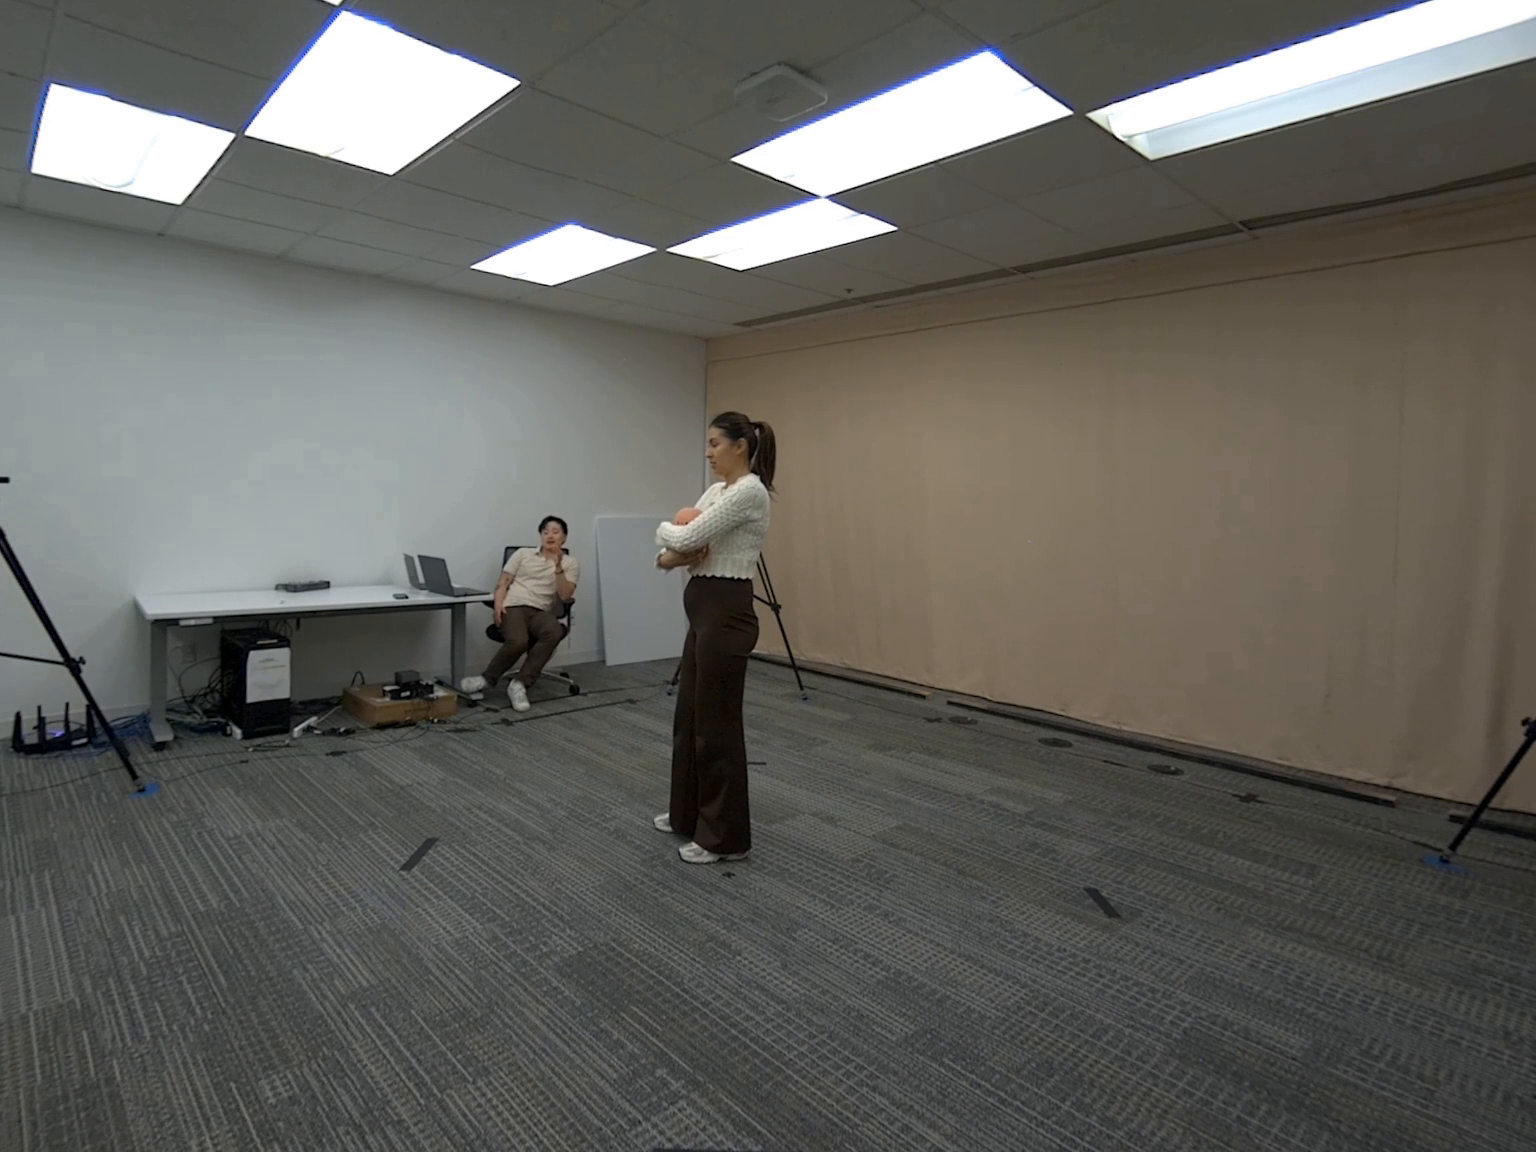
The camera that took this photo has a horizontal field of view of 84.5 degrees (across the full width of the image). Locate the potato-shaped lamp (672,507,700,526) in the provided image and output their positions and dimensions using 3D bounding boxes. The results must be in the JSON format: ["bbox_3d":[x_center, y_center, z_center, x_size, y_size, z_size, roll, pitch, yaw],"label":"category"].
[{"bbox_3d":[-0.274,-0.160,3.188,0.198,0.176,0.160,-37,-27,12],"label":"potato-shaped lamp"}]
